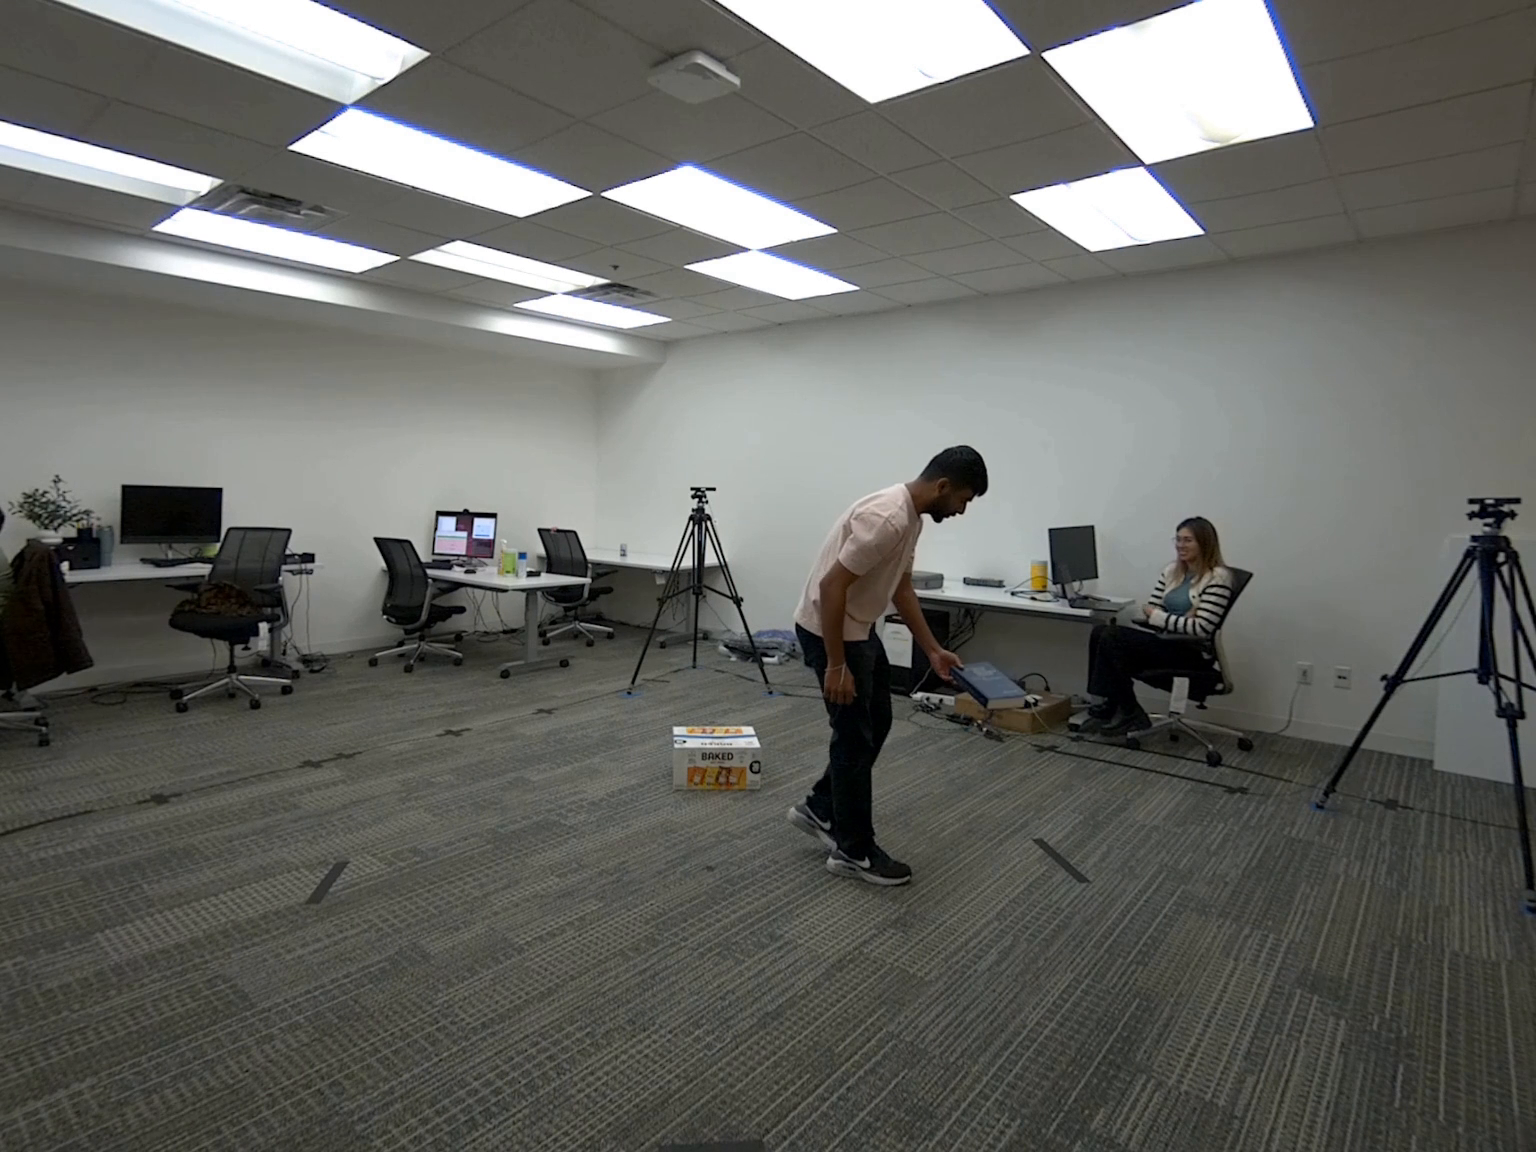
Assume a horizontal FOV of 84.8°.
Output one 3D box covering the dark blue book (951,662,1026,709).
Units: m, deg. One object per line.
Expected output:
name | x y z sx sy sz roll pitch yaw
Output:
dark blue book | 0.778 0.392 3.044 0.160 0.044 0.253 -2 21 -19
